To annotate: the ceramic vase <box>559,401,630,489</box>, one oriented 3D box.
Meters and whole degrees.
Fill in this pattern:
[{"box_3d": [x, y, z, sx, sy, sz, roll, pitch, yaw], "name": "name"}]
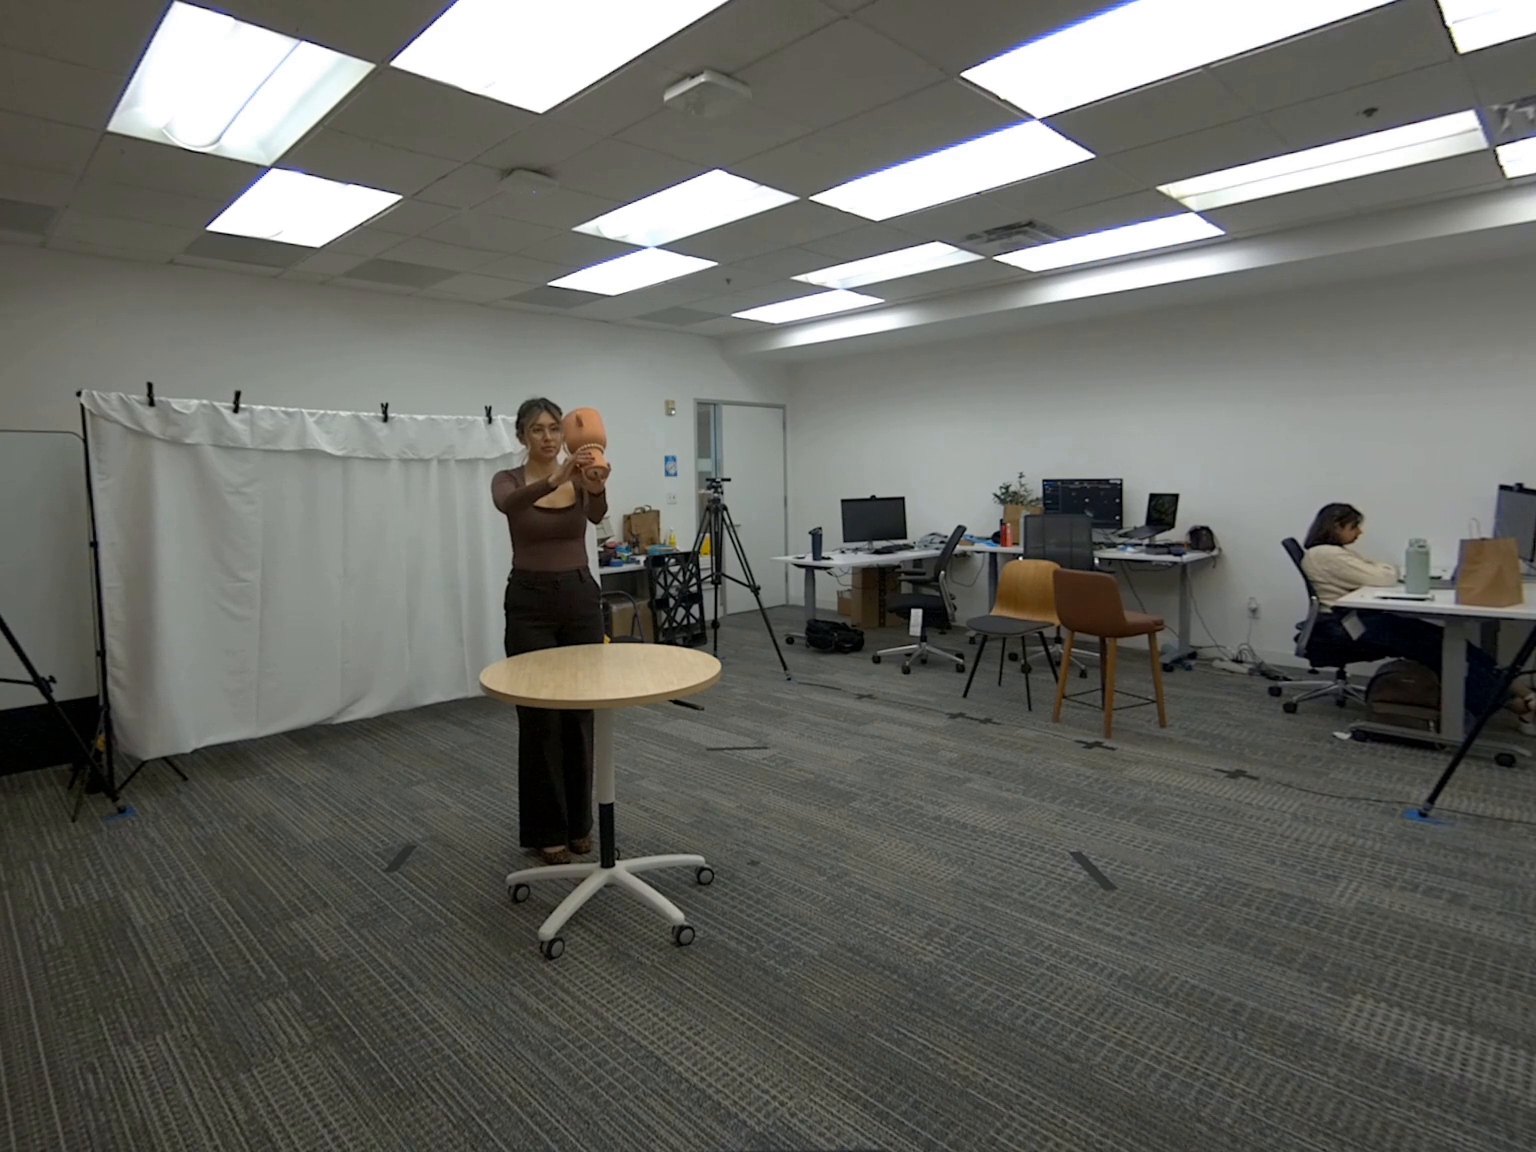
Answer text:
[{"box_3d": [-0.580, -0.425, 2.794, 0.135, 0.226, 0.153, -34, -29, 30], "name": "ceramic vase"}]
